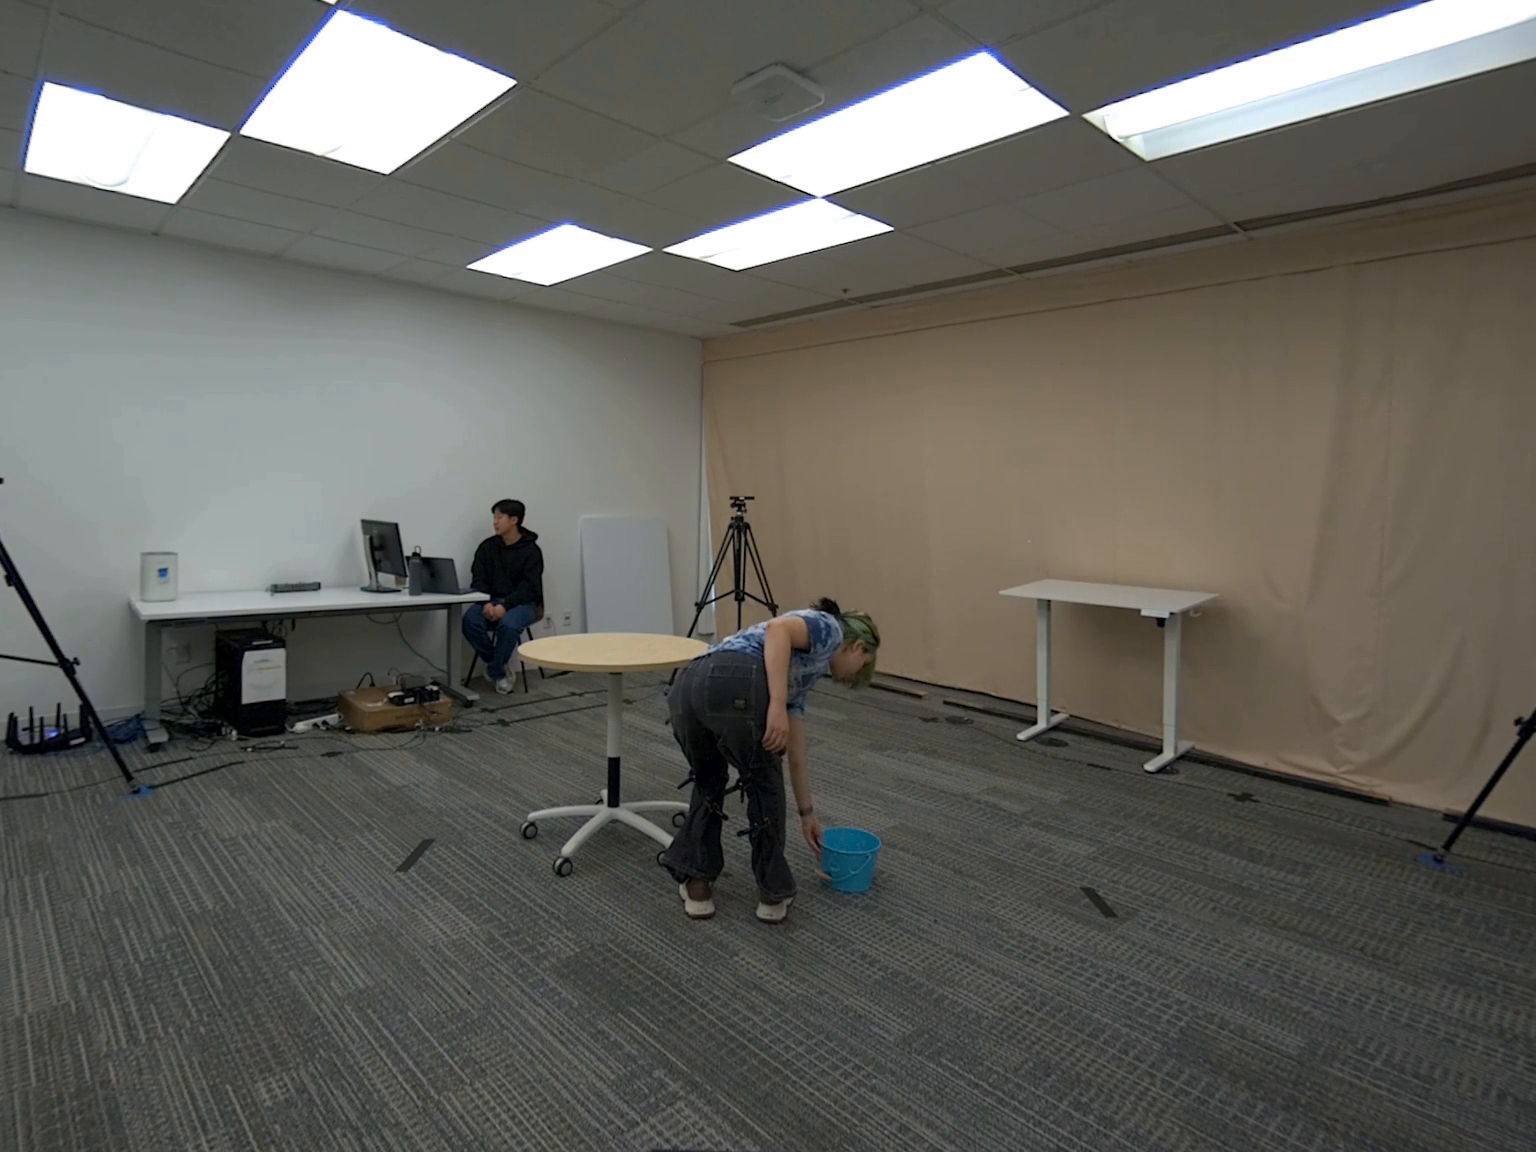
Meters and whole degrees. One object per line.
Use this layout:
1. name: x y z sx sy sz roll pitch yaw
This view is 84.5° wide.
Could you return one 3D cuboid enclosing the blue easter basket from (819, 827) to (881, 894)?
1. blue easter basket: 0.279 1.033 3.076 0.243 0.155 0.244 4 5 -2
